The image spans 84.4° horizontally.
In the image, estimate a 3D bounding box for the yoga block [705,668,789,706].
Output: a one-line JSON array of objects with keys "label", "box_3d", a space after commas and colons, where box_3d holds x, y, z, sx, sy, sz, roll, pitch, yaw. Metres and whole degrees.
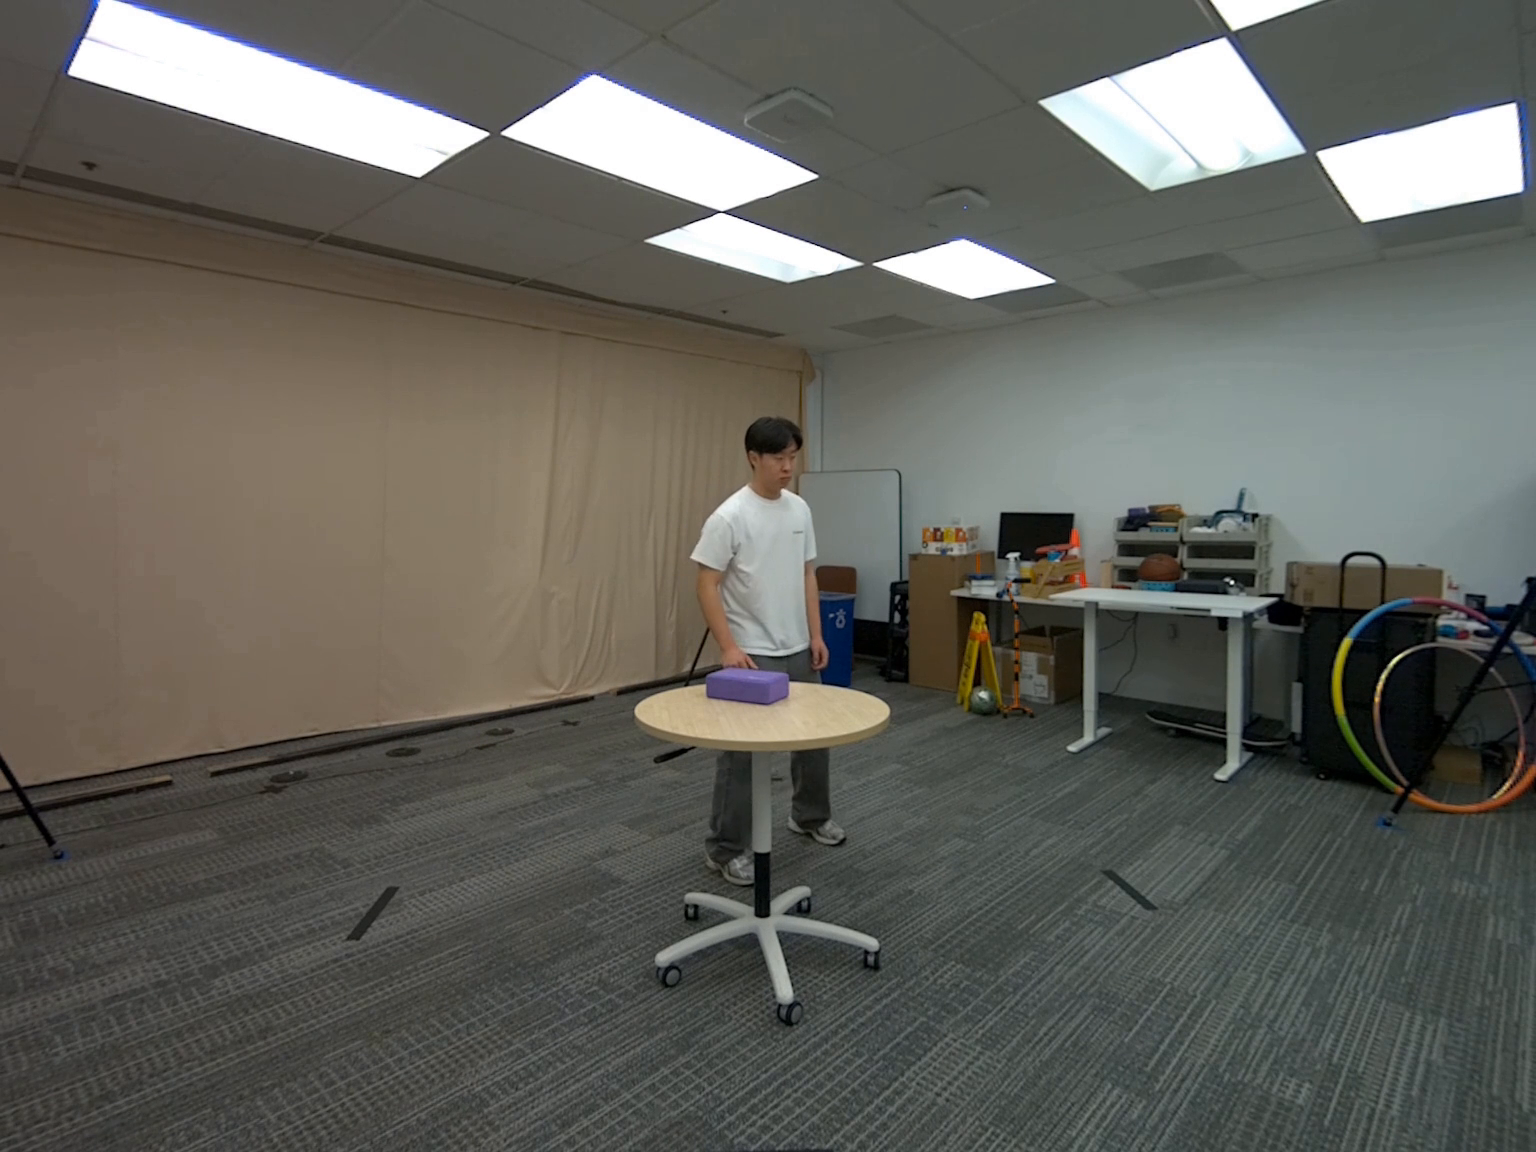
[{"label": "yoga block", "box_3d": [-0.063, 0.347, 2.680, 0.236, 0.076, 0.145, 2, 5, 31]}]
